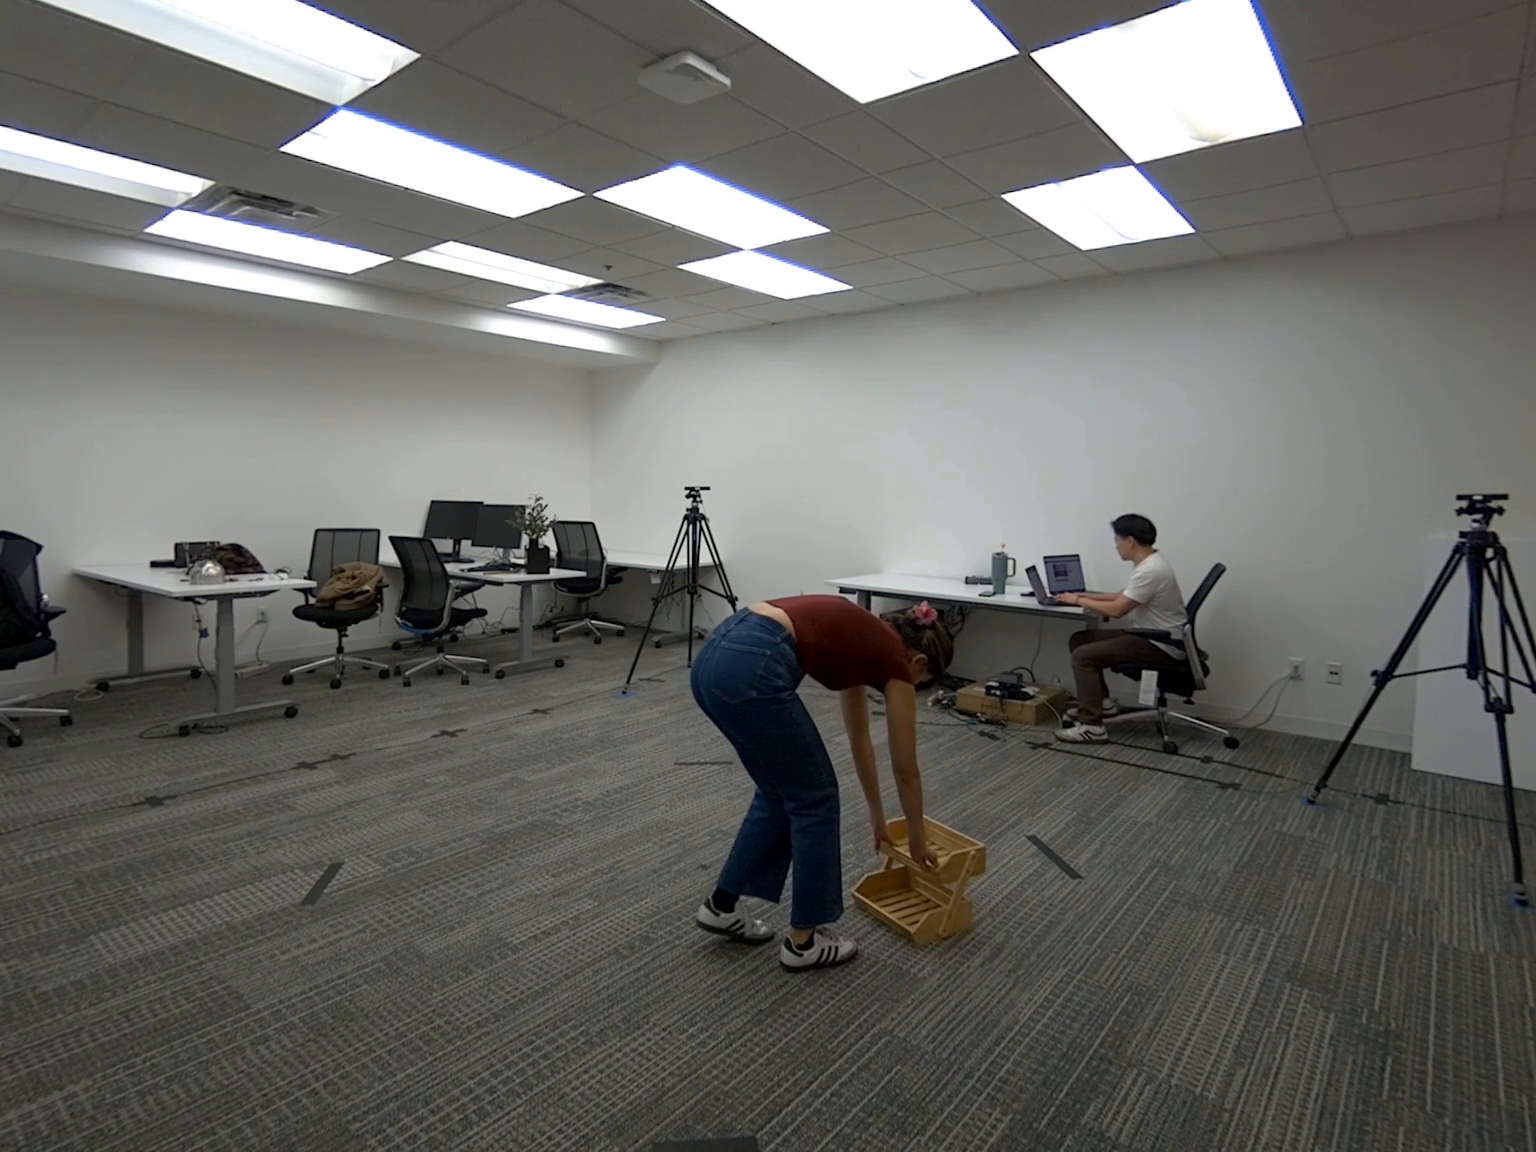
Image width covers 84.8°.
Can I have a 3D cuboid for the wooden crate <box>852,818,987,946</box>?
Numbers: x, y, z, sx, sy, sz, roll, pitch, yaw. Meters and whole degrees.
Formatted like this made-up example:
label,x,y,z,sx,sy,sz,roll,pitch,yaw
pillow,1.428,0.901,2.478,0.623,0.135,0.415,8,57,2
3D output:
label,x,y,z,sx,sy,sz,roll,pitch,yaw
wooden crate,0.478,0.976,2.796,0.294,0.272,0.335,-2,6,-31
